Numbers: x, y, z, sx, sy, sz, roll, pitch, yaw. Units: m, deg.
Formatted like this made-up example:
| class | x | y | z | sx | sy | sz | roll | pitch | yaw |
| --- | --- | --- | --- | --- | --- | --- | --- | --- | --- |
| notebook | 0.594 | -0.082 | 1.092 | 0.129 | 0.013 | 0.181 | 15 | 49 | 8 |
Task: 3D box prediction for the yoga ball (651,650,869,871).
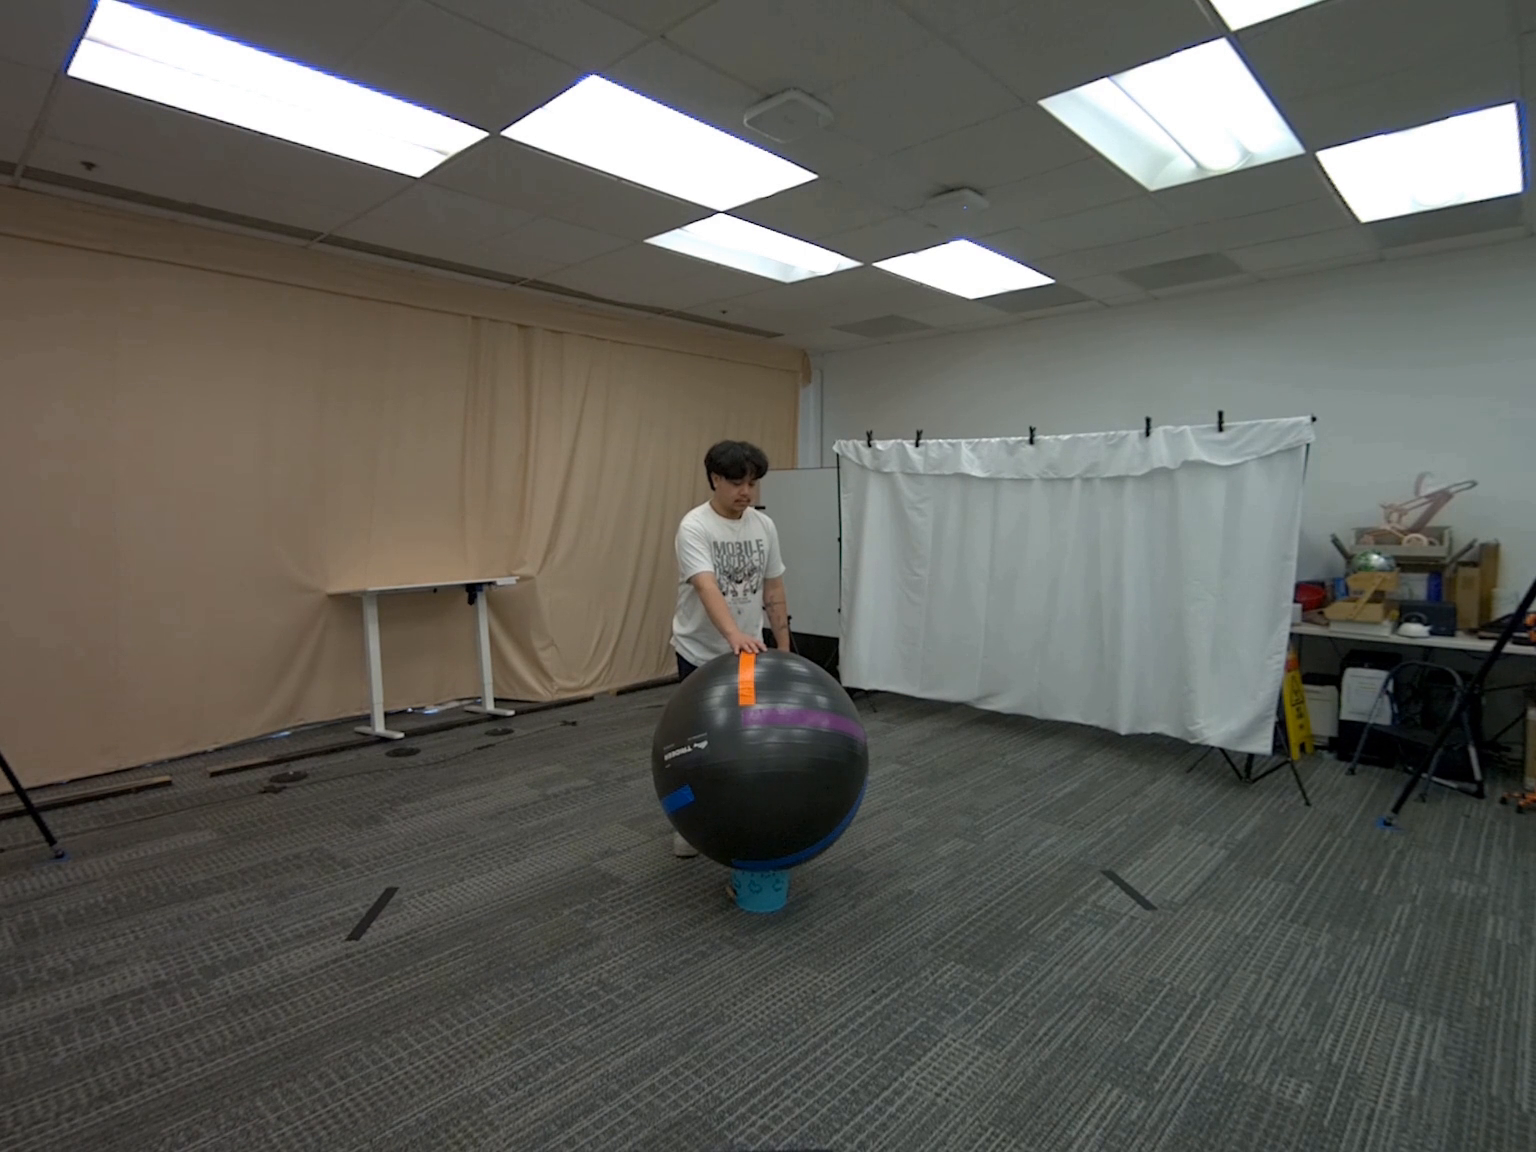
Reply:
| class | x | y | z | sx | sy | sz | roll | pitch | yaw |
| --- | --- | --- | --- | --- | --- | --- | --- | --- | --- |
| yoga ball | -0.033 | 0.639 | 2.947 | 0.757 | 0.756 | 0.761 | 0 | 4 | -2 |
